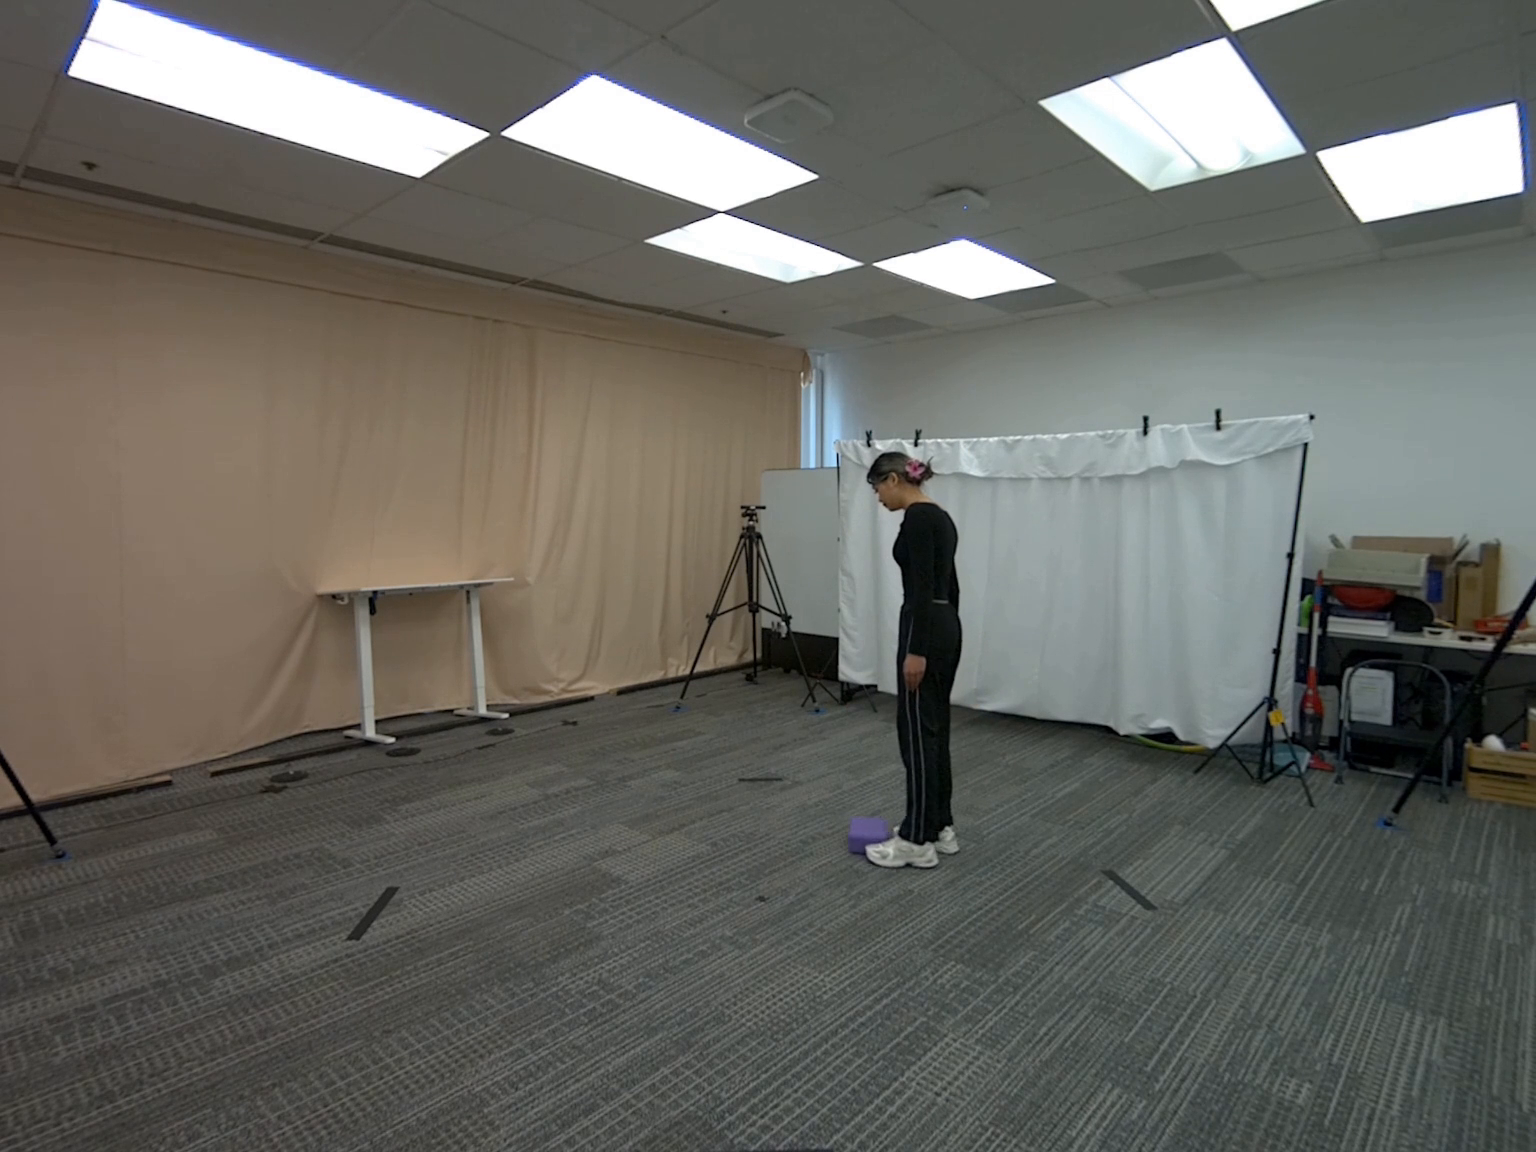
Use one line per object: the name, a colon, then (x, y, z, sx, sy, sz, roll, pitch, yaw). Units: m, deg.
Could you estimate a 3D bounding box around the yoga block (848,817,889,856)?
yoga block: (0.423, 1.066, 3.444, 0.151, 0.076, 0.227, -1, 5, 9)
